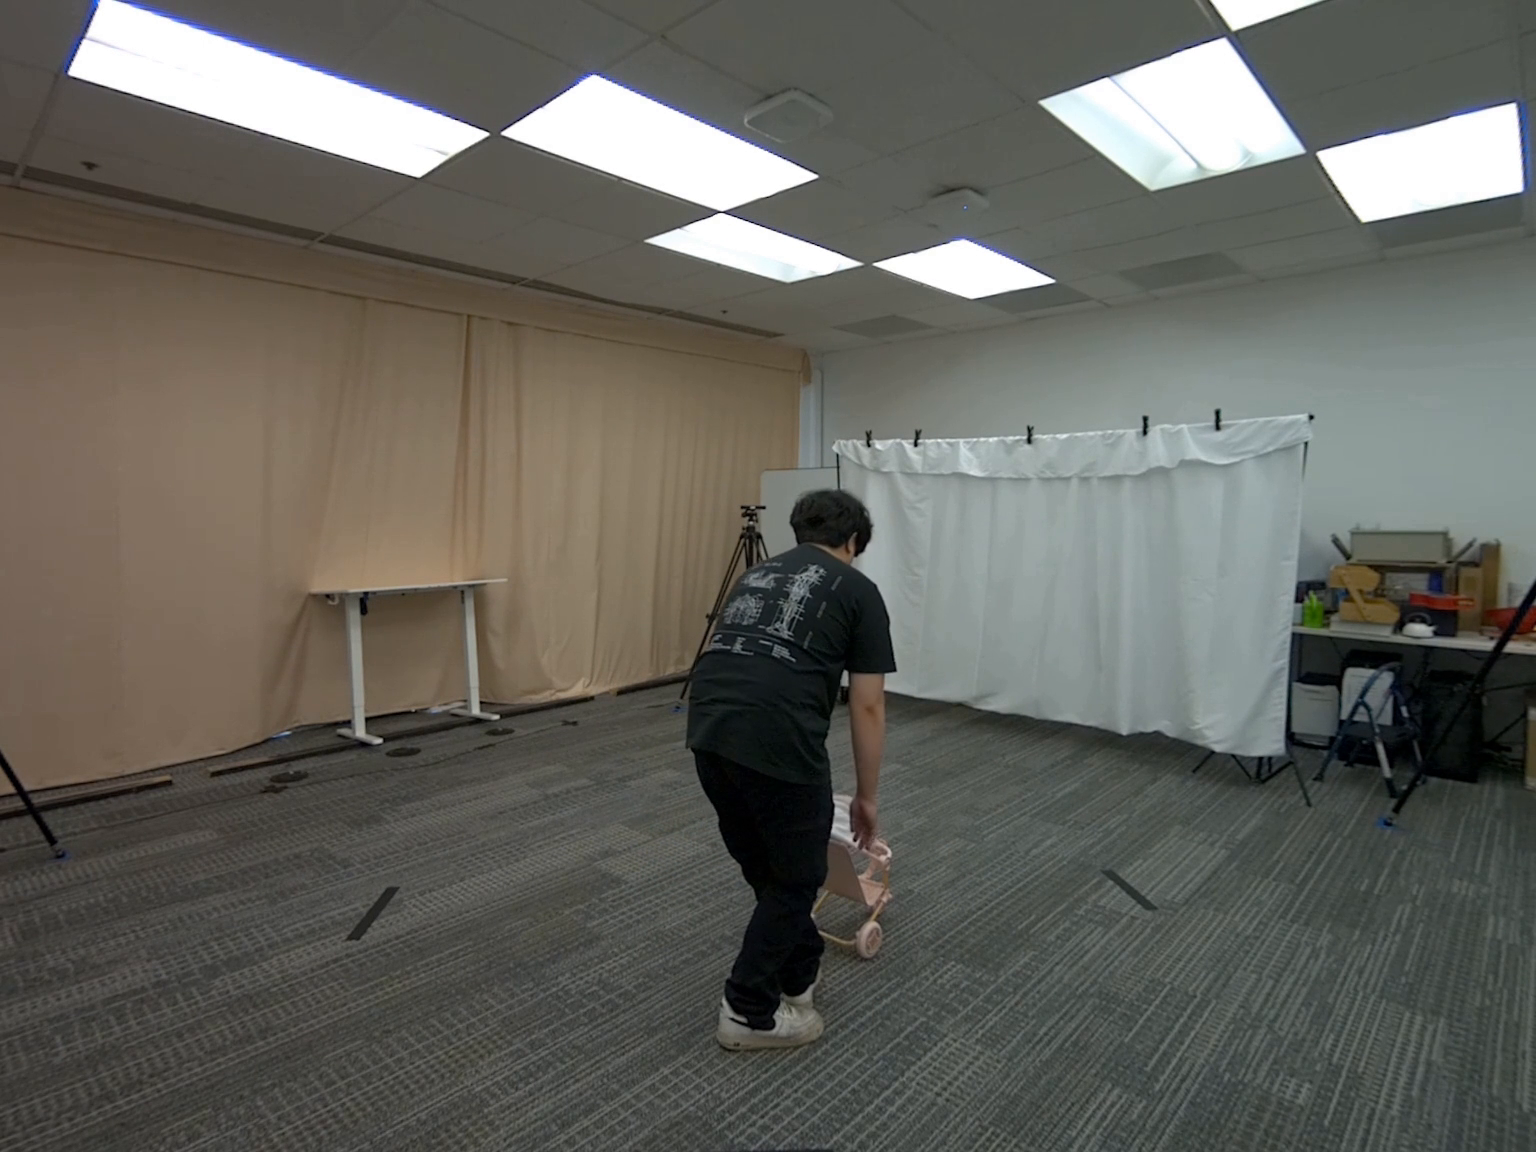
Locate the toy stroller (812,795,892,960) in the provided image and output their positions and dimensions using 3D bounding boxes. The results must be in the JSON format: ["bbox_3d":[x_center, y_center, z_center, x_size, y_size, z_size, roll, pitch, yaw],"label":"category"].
[{"bbox_3d":[0.258,0.939,2.711,0.291,0.529,0.334,3,20,43],"label":"toy stroller"}]
